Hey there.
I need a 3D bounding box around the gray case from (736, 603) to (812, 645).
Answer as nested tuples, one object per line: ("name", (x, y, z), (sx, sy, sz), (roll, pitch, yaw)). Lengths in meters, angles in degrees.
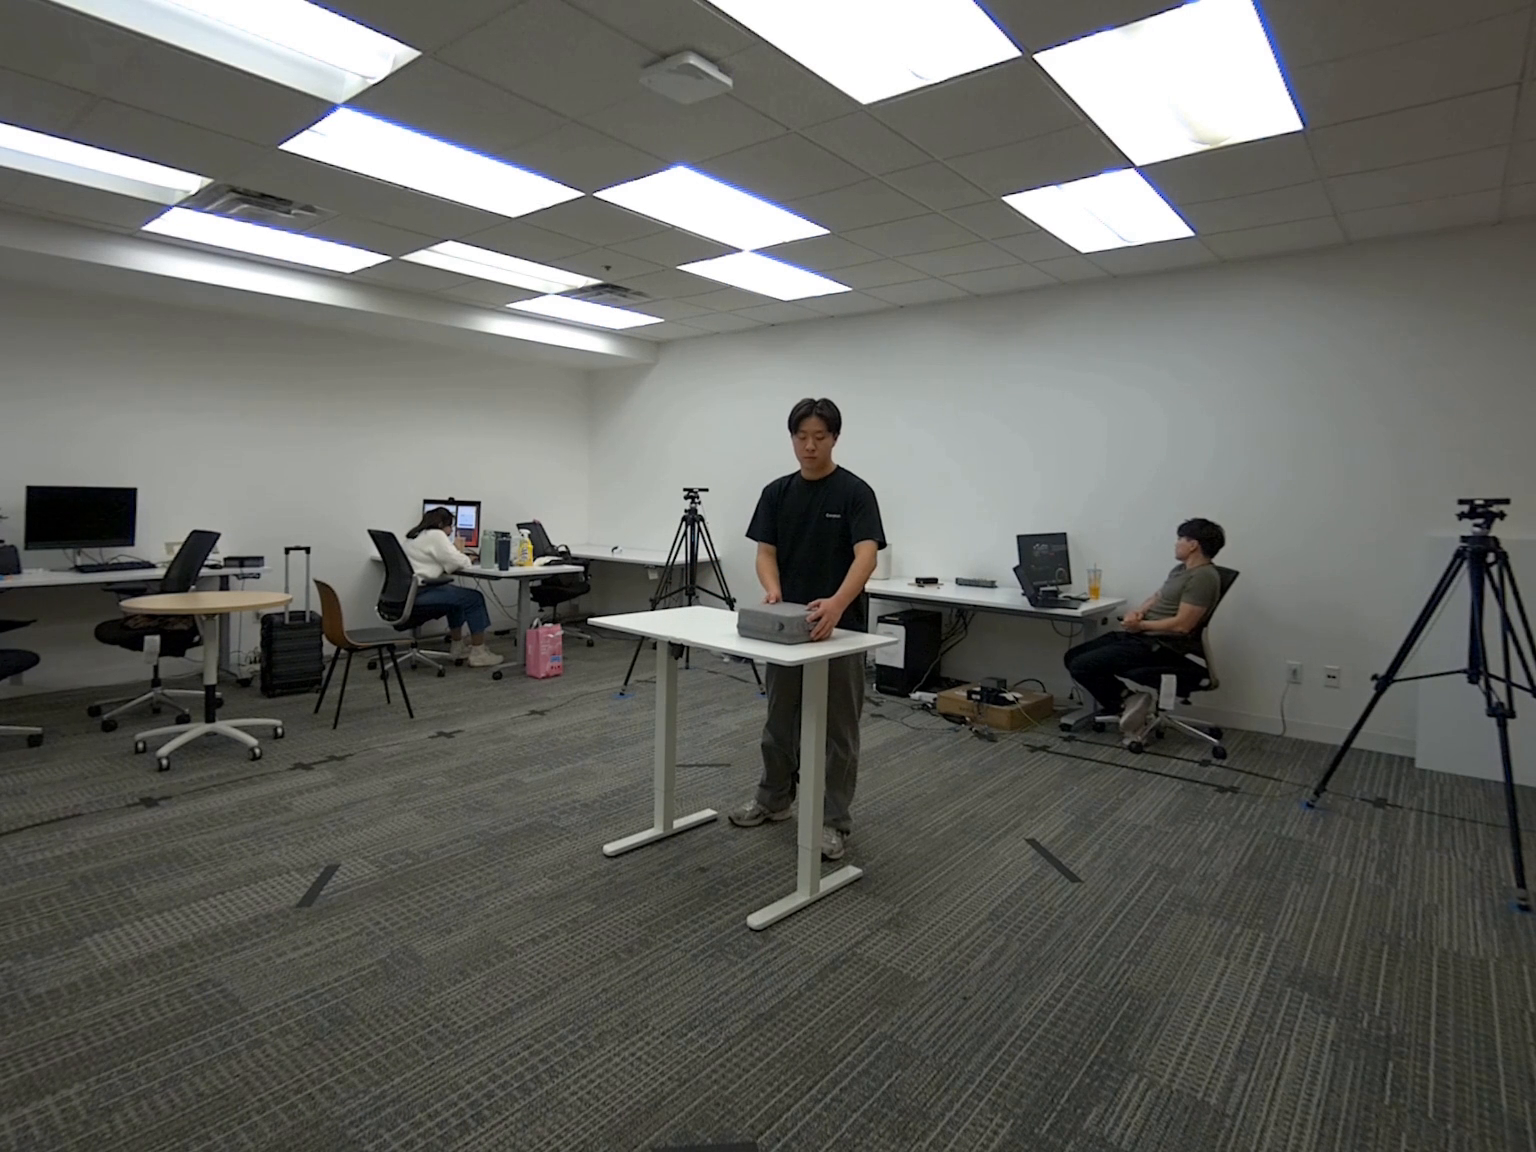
("gray case", (0.056, 0.159, 2.938), (0.297, 0.102, 0.255), (6, 7, 43))
